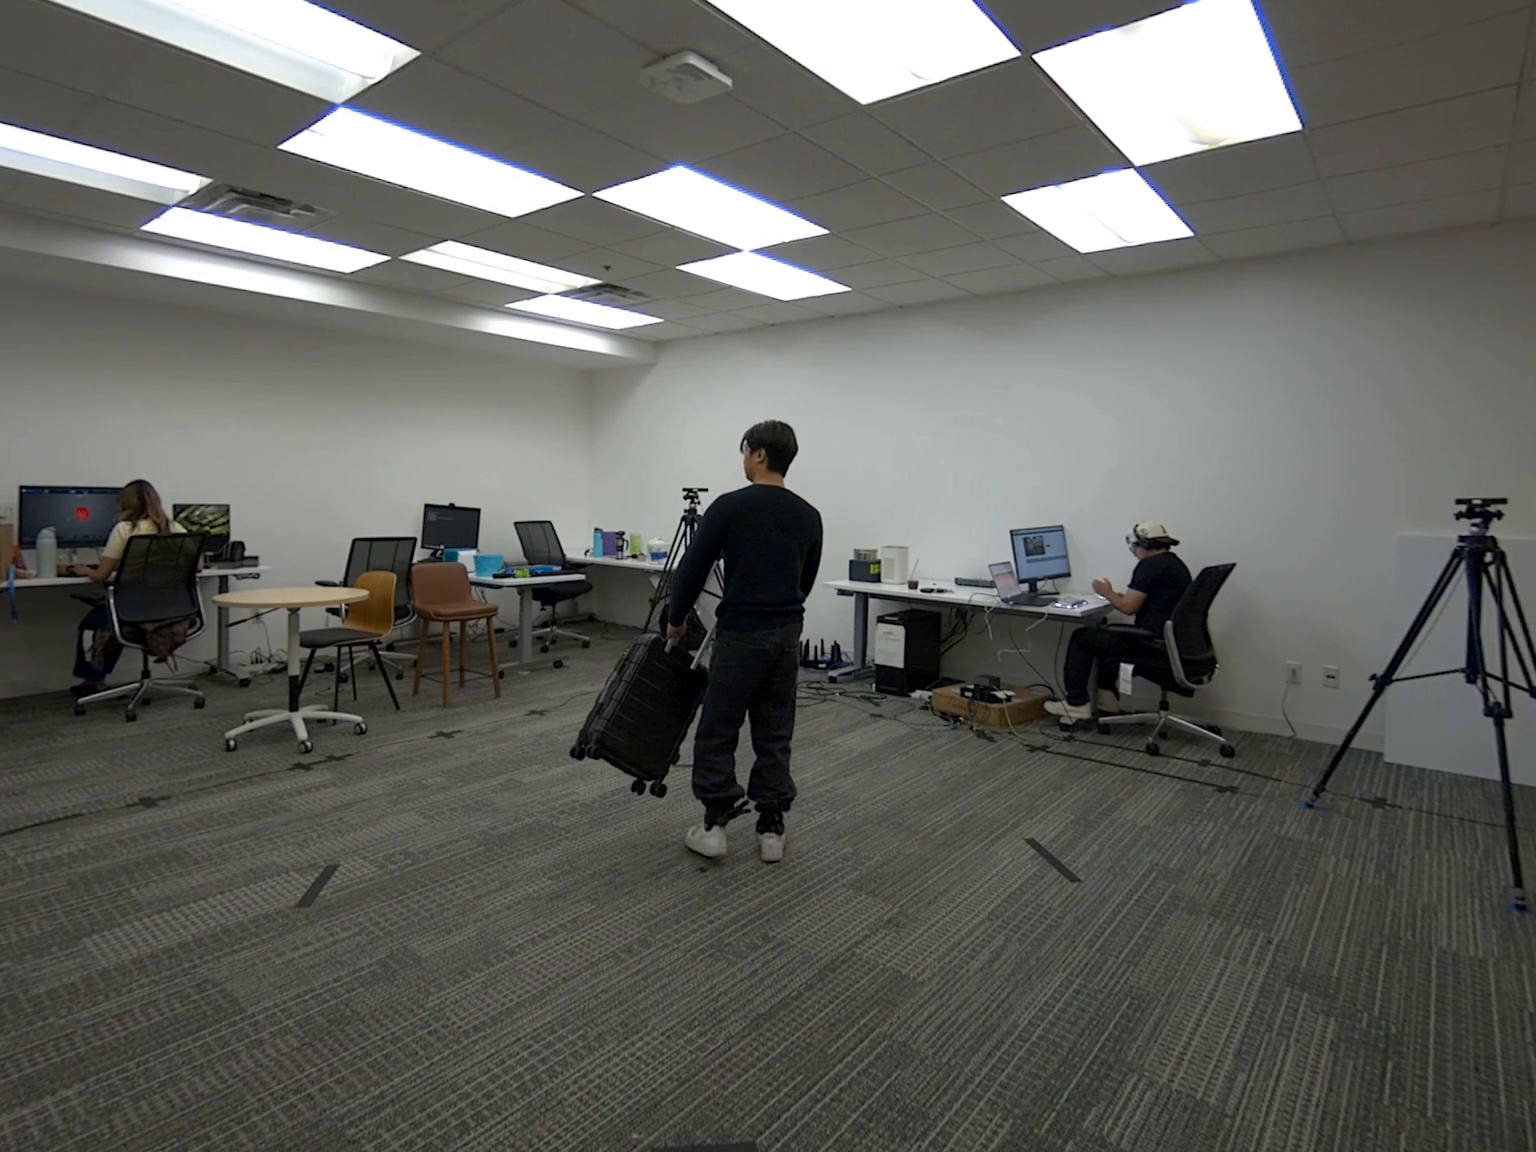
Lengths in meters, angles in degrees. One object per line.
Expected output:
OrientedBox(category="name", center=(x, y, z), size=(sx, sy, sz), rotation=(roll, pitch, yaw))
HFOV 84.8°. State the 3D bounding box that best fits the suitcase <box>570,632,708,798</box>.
OrientedBox(category="suitcase", center=(-0.424, 0.364, 3.450), size=(0.375, 0.988, 0.260), rotation=(34, -27, -18))
